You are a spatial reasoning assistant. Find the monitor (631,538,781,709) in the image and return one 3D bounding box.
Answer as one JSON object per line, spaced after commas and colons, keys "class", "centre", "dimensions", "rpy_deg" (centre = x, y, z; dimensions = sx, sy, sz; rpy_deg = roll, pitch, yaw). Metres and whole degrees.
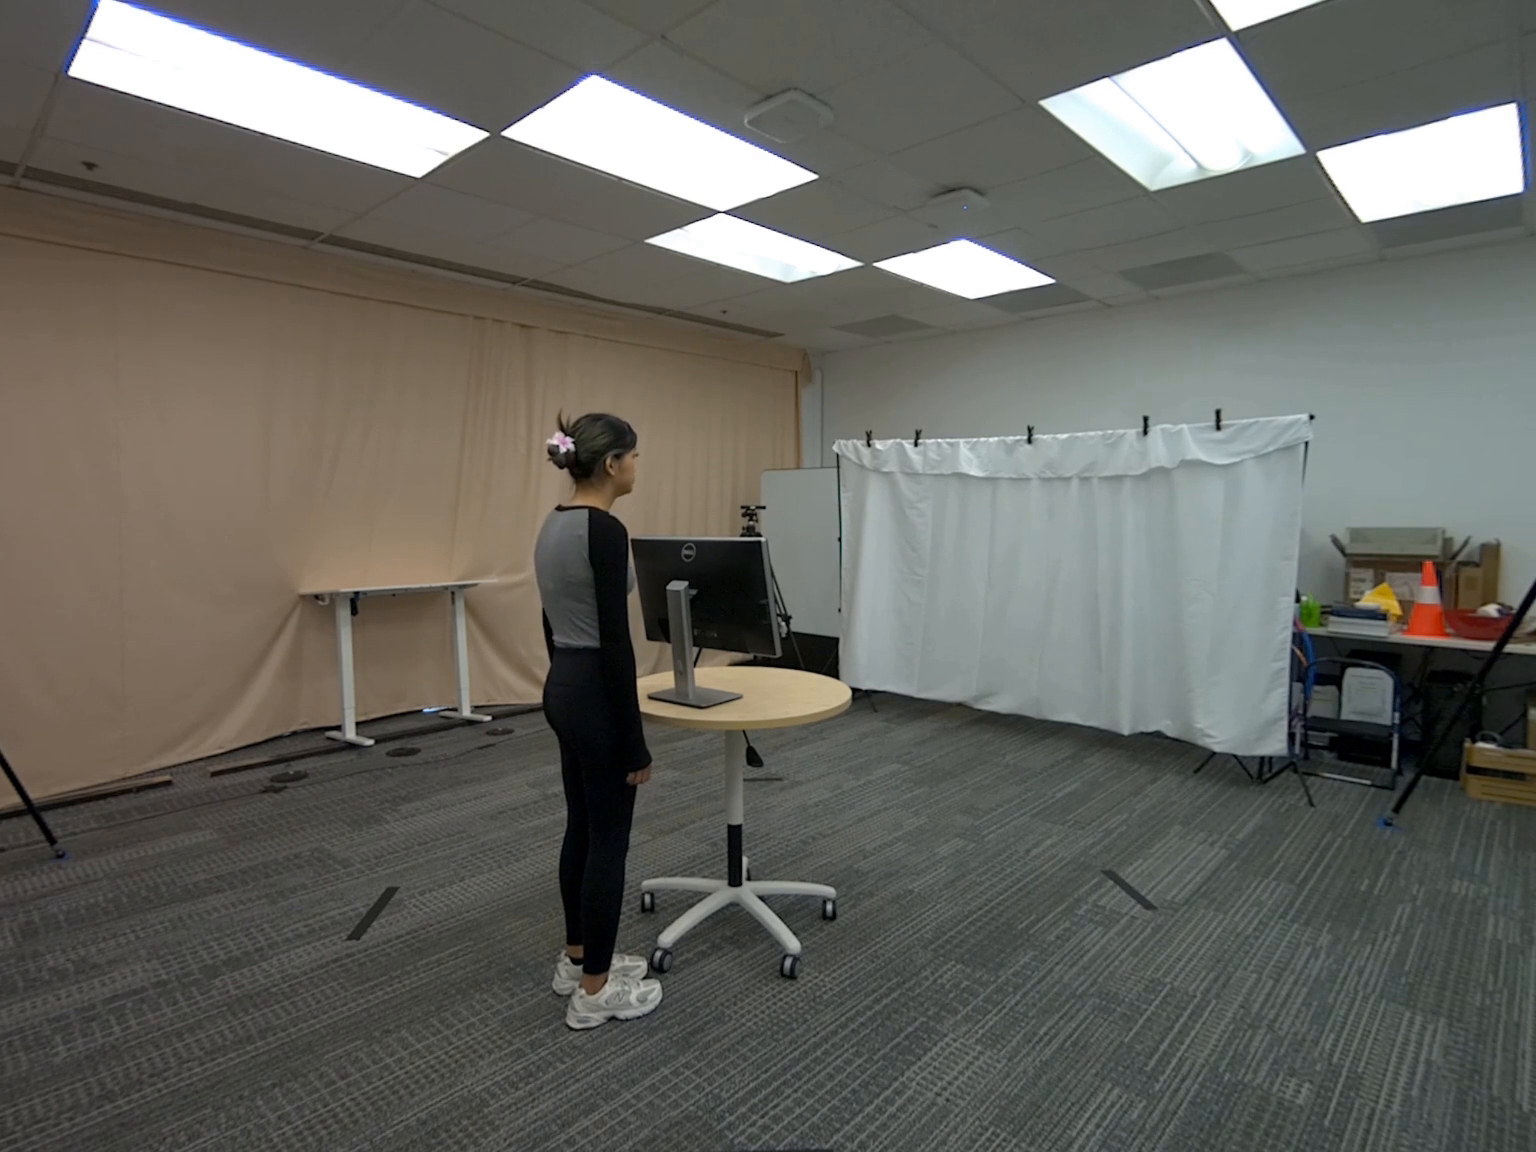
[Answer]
{"class": "monitor", "centre": [-0.223, 0.138, 2.640], "dimensions": [0.547, 0.517, 0.169], "rpy_deg": [1, -5, 39]}
